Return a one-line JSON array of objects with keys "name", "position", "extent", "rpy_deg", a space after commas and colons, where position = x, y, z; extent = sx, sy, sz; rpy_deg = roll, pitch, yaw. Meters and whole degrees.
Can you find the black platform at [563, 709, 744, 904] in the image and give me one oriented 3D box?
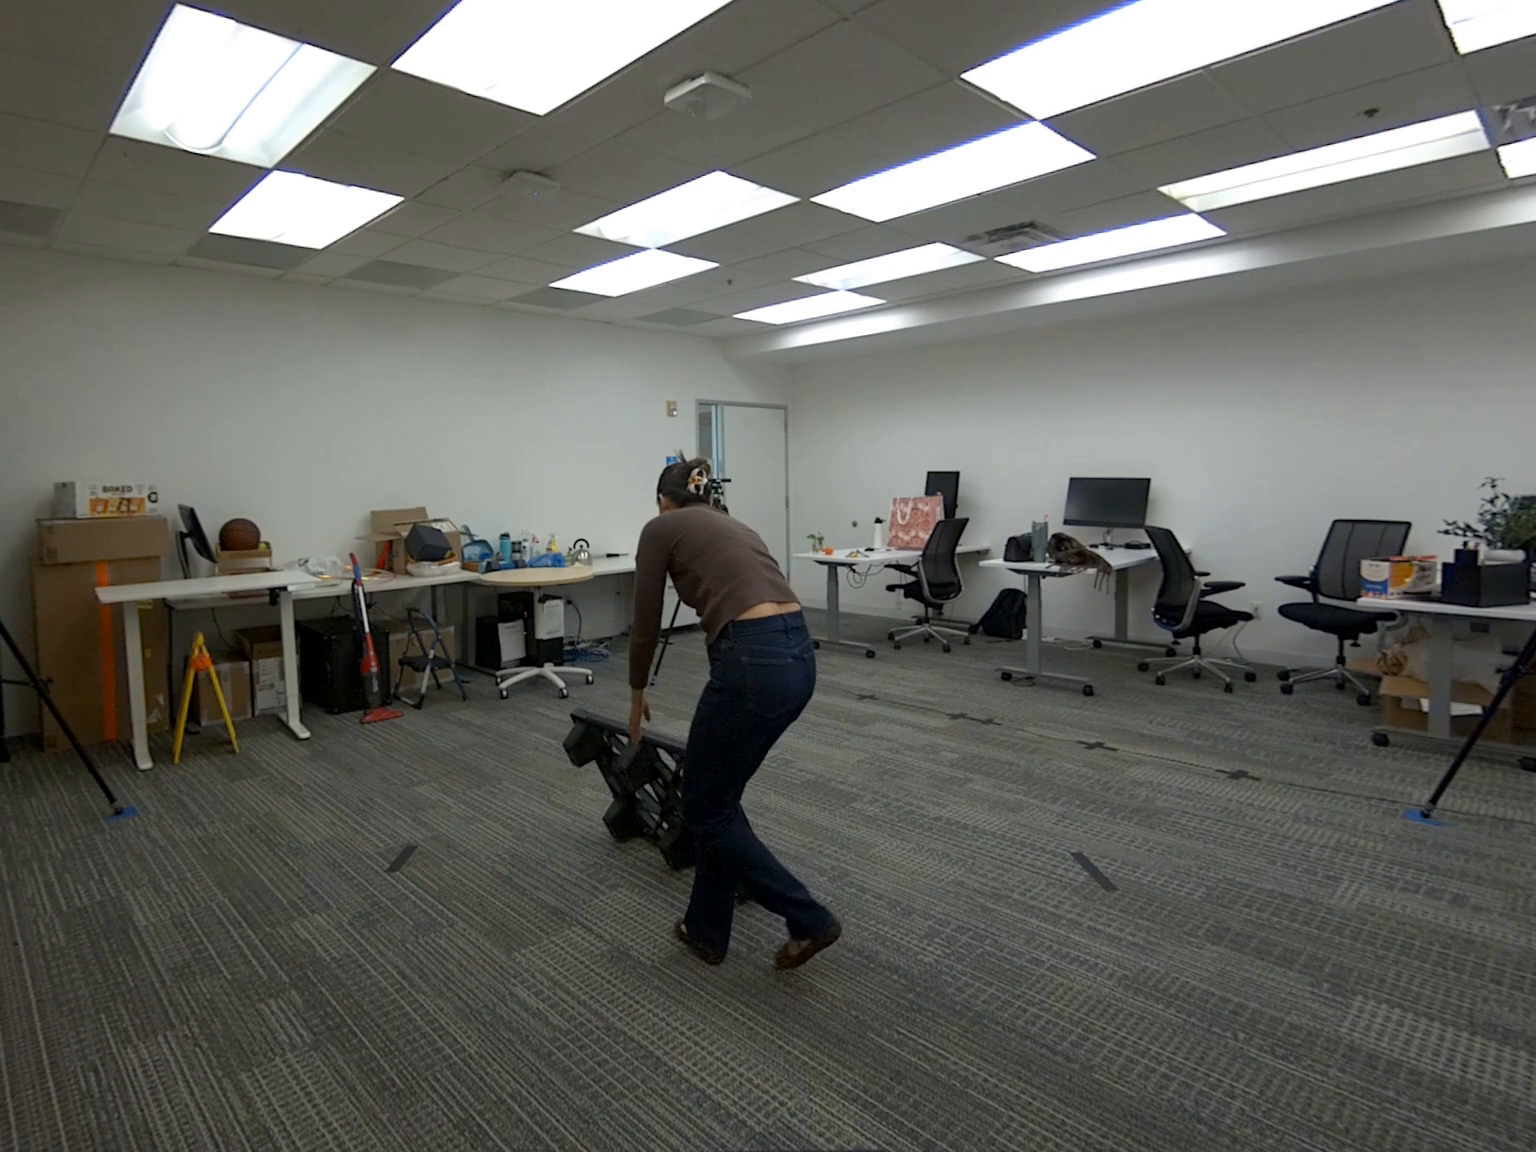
[{"name": "black platform", "position": [-0.382, 0.813, 3.018], "extent": [0.830, 0.590, 0.142], "rpy_deg": [5, 33, 46]}]
